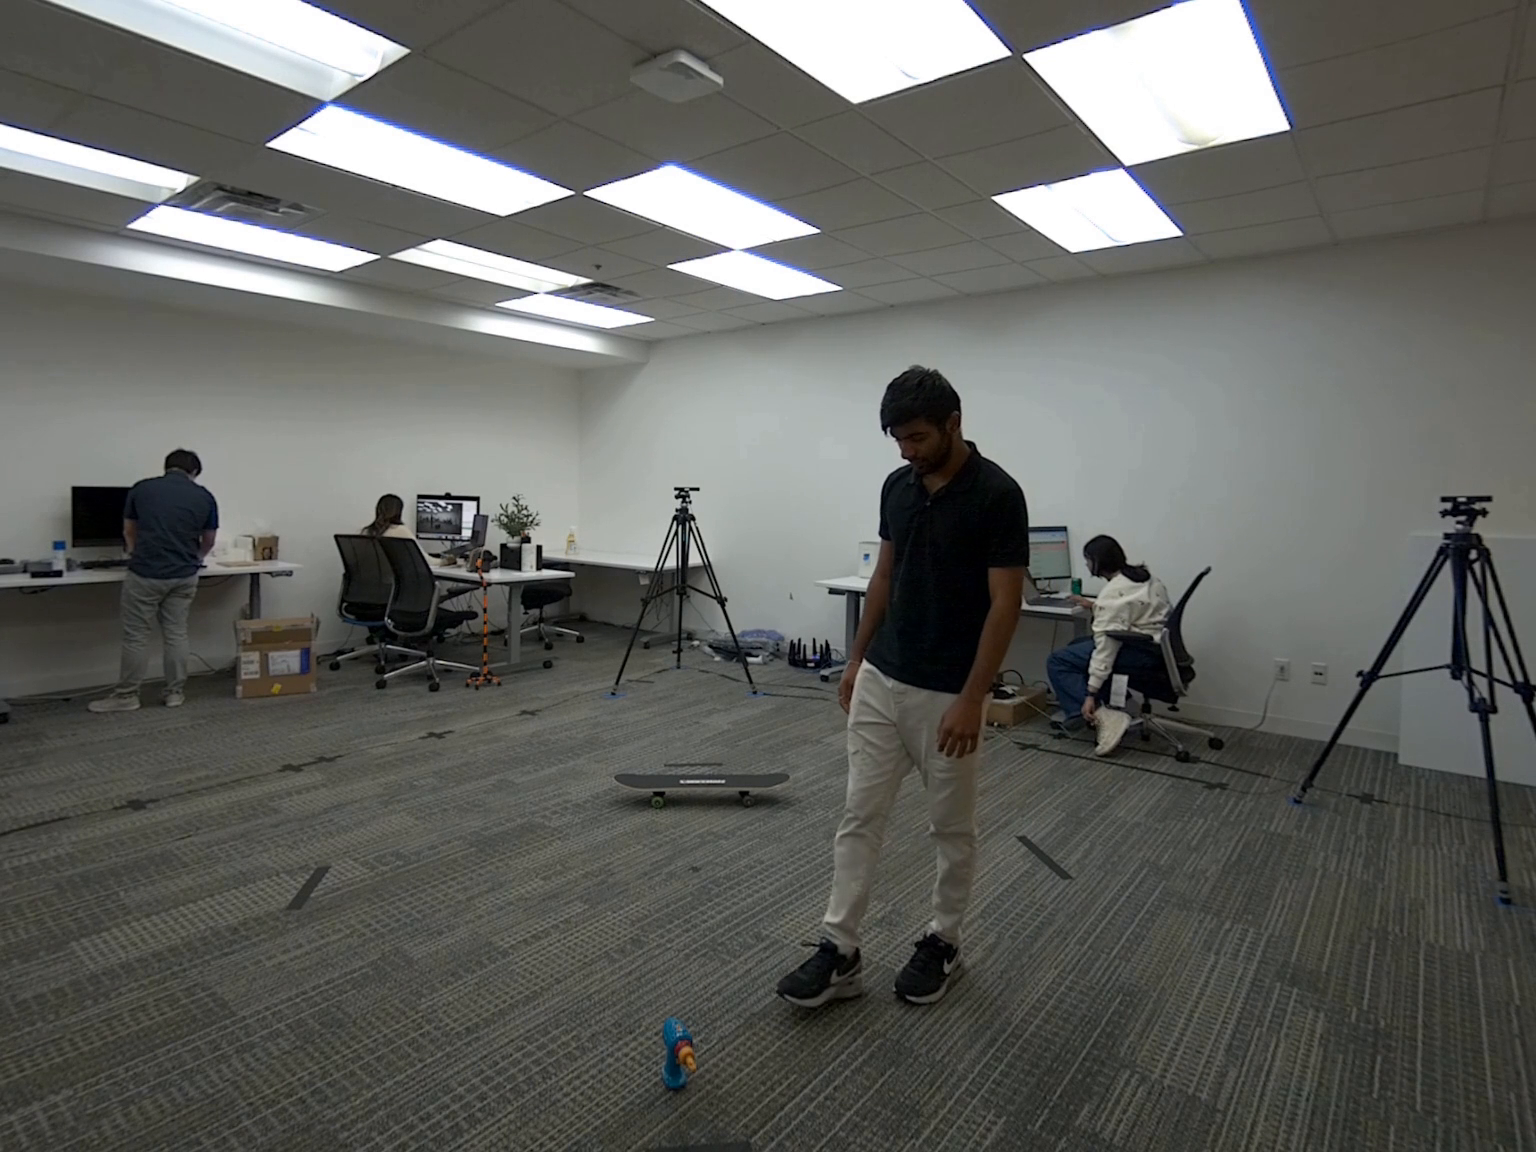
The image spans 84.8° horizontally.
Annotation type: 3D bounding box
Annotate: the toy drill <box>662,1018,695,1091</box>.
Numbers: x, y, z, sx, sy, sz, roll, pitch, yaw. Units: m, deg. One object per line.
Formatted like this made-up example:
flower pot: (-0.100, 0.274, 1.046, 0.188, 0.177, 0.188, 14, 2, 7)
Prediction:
toy drill: (-0.205, 1.116, 1.947, 0.060, 0.145, 0.174, -1, 8, -21)
